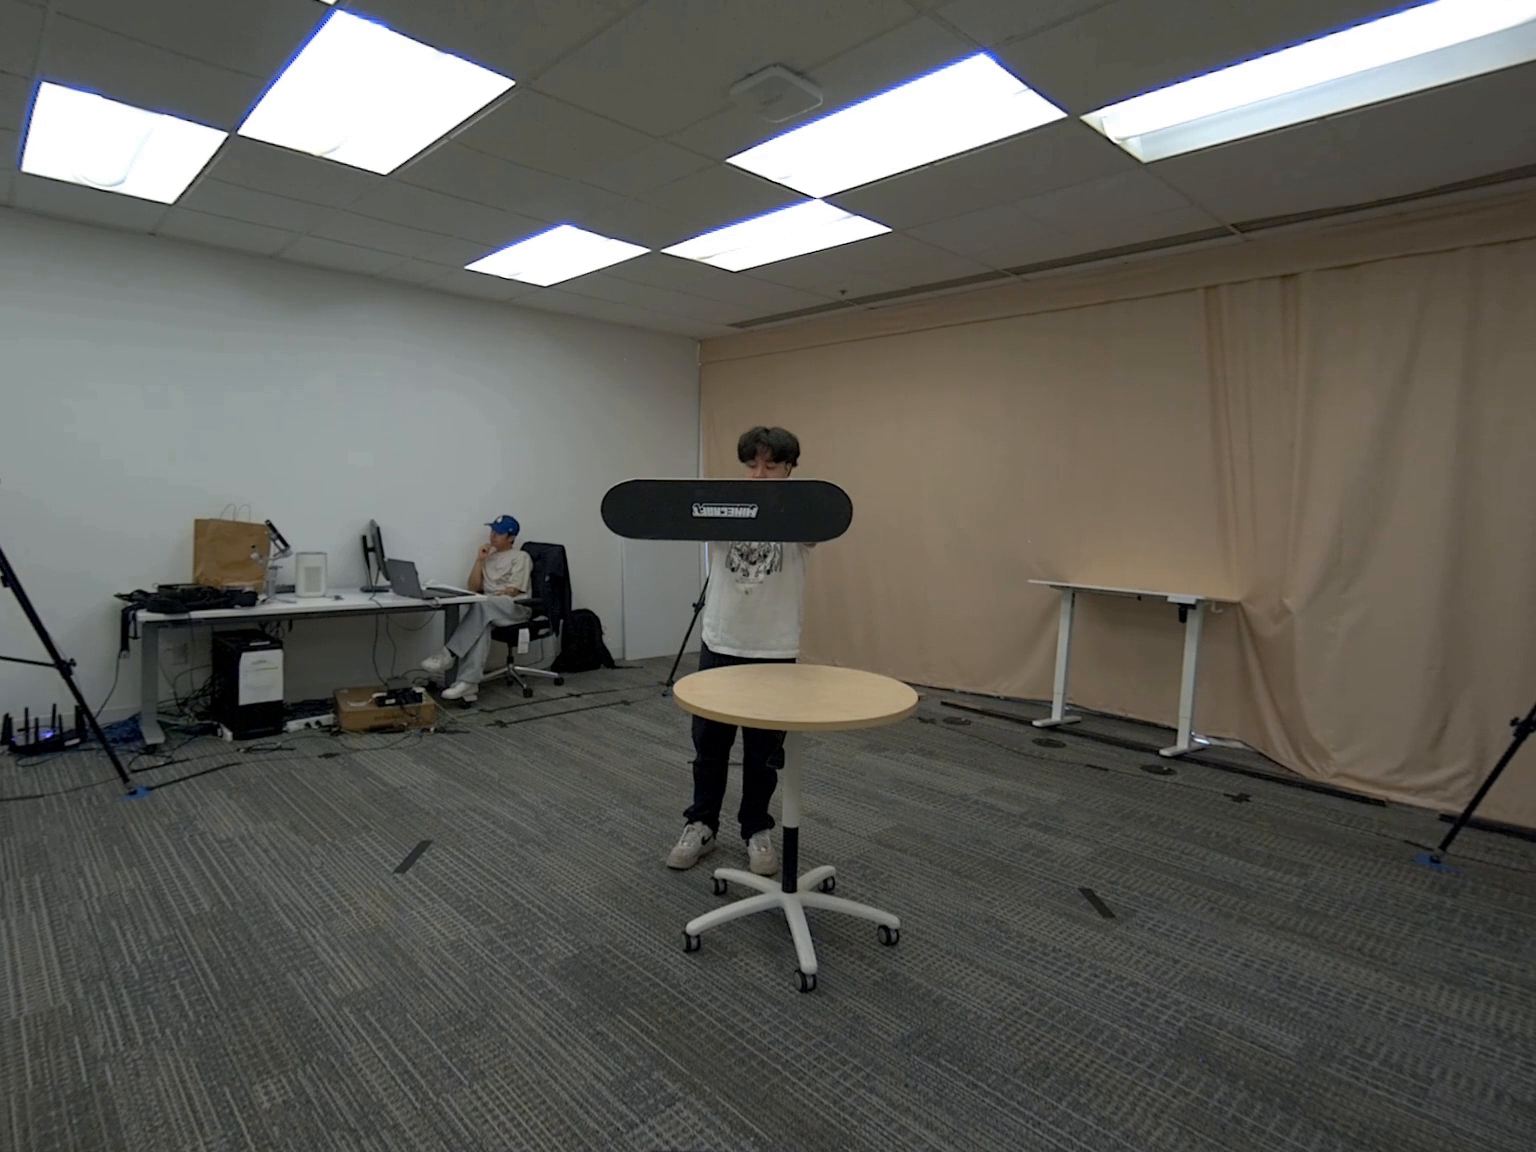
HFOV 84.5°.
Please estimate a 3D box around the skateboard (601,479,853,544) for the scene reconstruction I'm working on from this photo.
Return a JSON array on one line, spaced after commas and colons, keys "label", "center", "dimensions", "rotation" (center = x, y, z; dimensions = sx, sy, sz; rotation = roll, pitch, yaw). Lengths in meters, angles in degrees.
[{"label": "skateboard", "center": [-0.136, -0.203, 2.618], "dimensions": [0.793, 0.192, 0.110], "rotation": [1, 6, 11]}]
